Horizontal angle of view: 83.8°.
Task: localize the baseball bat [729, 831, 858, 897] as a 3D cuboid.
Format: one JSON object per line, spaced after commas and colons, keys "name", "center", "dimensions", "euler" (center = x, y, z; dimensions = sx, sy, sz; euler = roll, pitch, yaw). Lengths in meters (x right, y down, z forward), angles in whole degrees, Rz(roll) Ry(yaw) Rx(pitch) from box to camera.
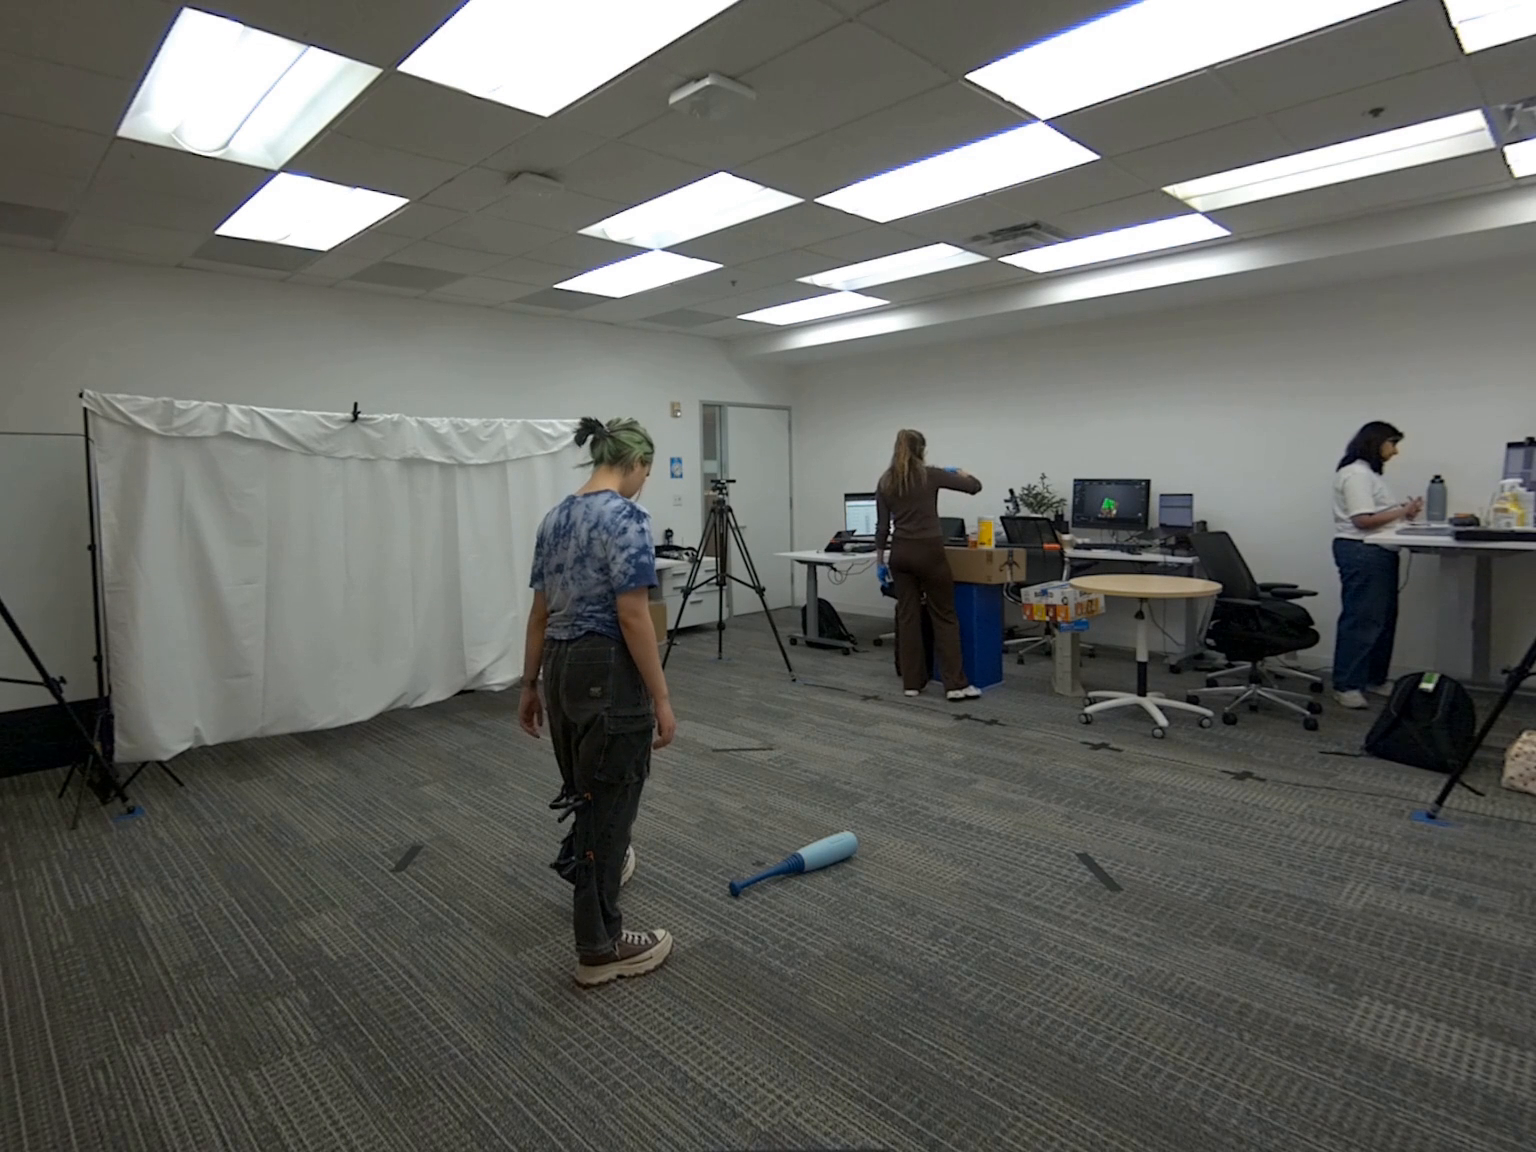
{"name": "baseball bat", "center": [0.097, 1.022, 3.012], "dimensions": [0.531, 0.088, 0.091], "euler": [-9, 9, -33]}
